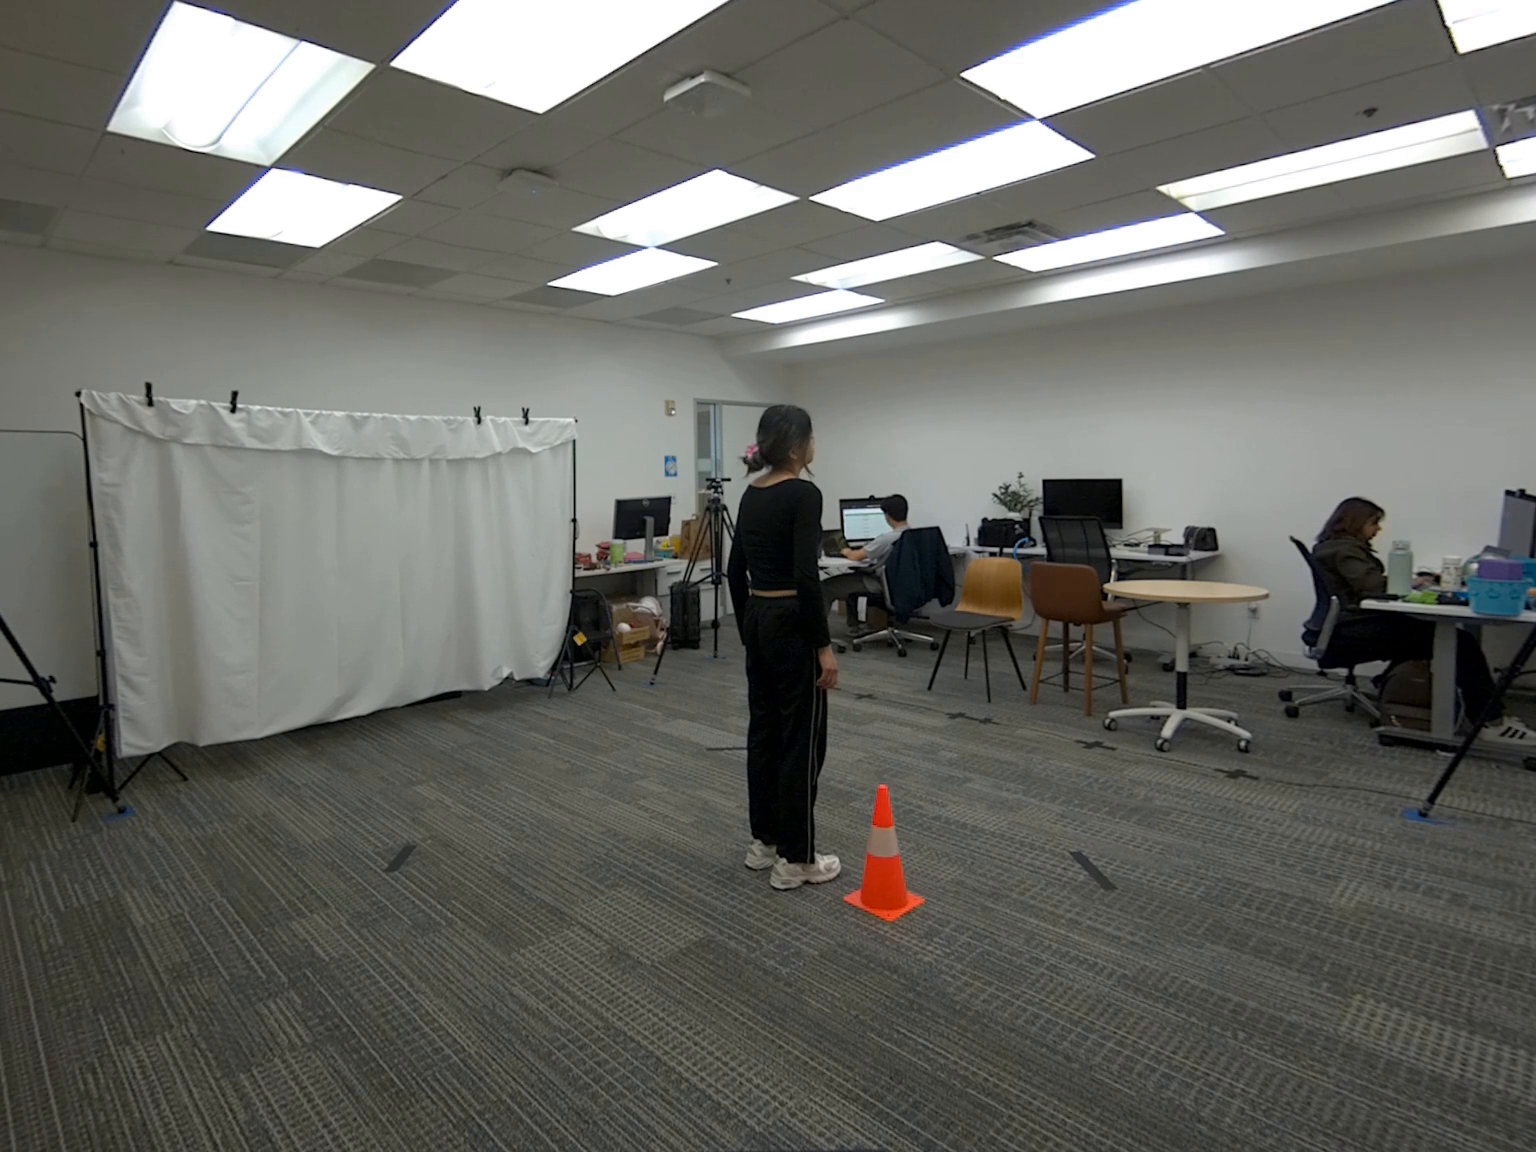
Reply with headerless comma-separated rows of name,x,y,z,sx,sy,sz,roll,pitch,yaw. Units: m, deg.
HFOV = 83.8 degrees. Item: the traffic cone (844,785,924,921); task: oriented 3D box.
traffic cone,0.385,0.881,2.805,0.200,0.382,0.209,-4,6,-30
